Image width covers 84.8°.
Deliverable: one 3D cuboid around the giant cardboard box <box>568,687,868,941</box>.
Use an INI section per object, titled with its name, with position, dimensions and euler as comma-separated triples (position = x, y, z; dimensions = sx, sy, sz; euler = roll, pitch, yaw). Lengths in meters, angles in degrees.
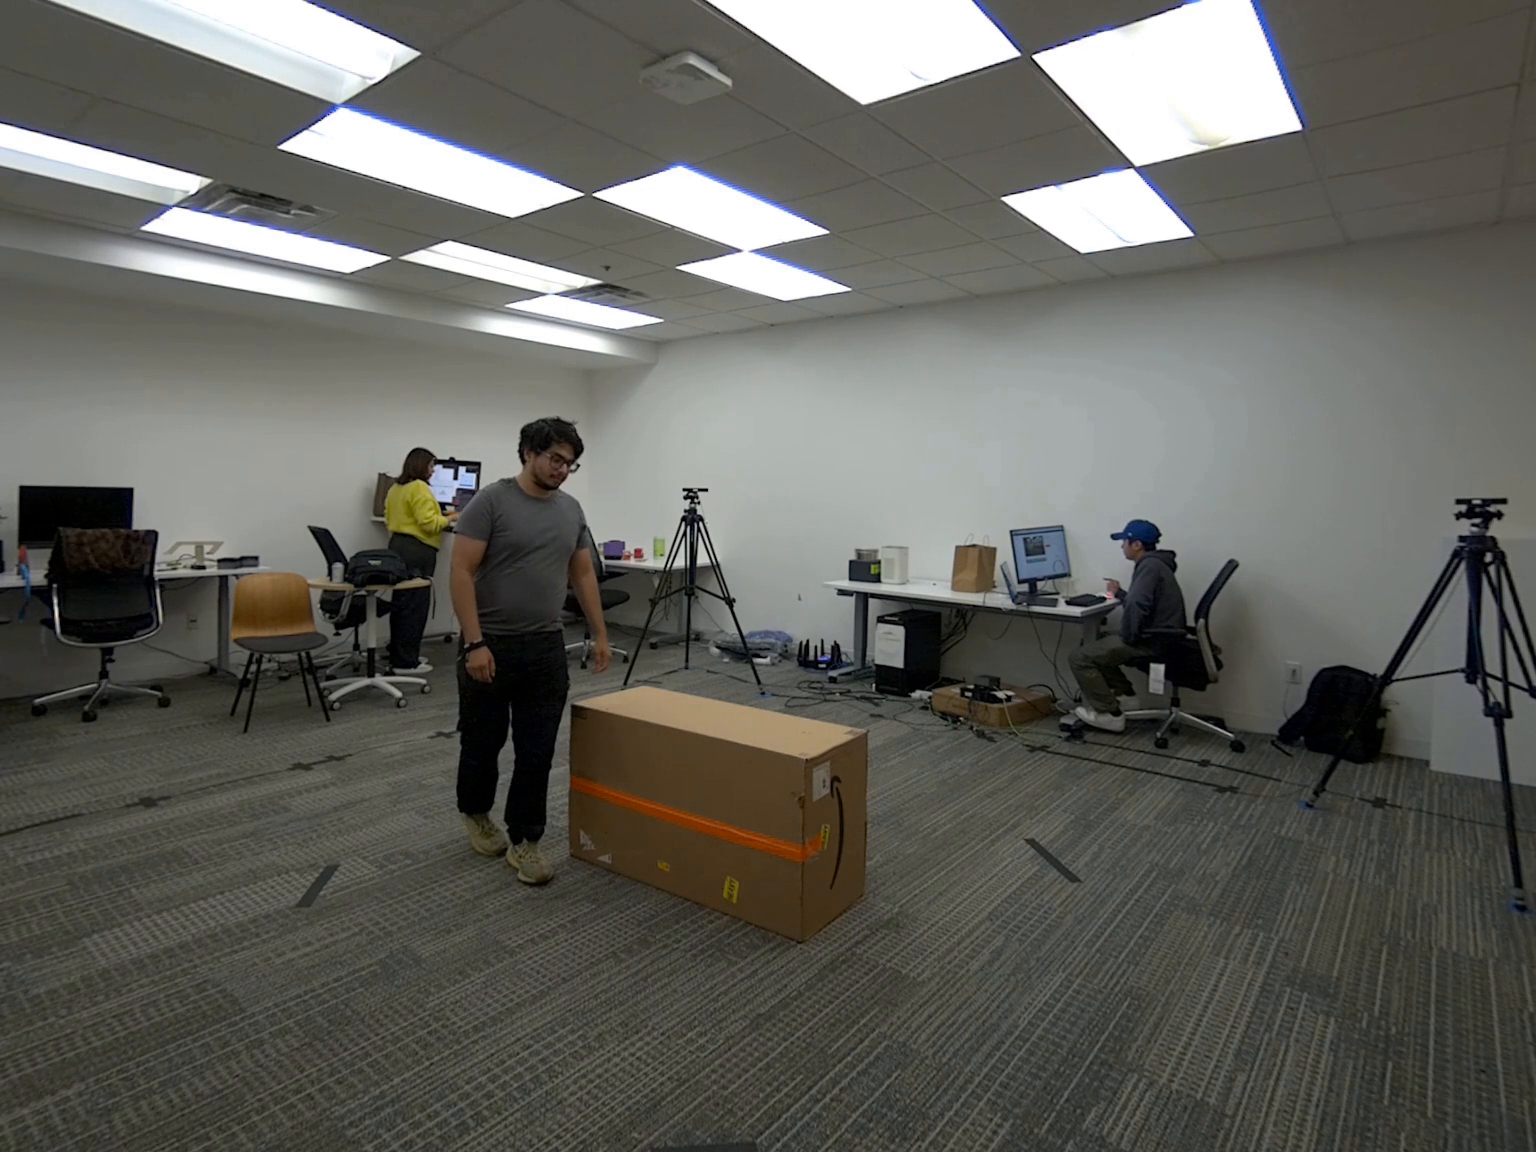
[giant cardboard box]
position = -0.211, 0.785, 3.054
dimensions = 1.059, 0.575, 0.414
euler = 4, 5, 35
